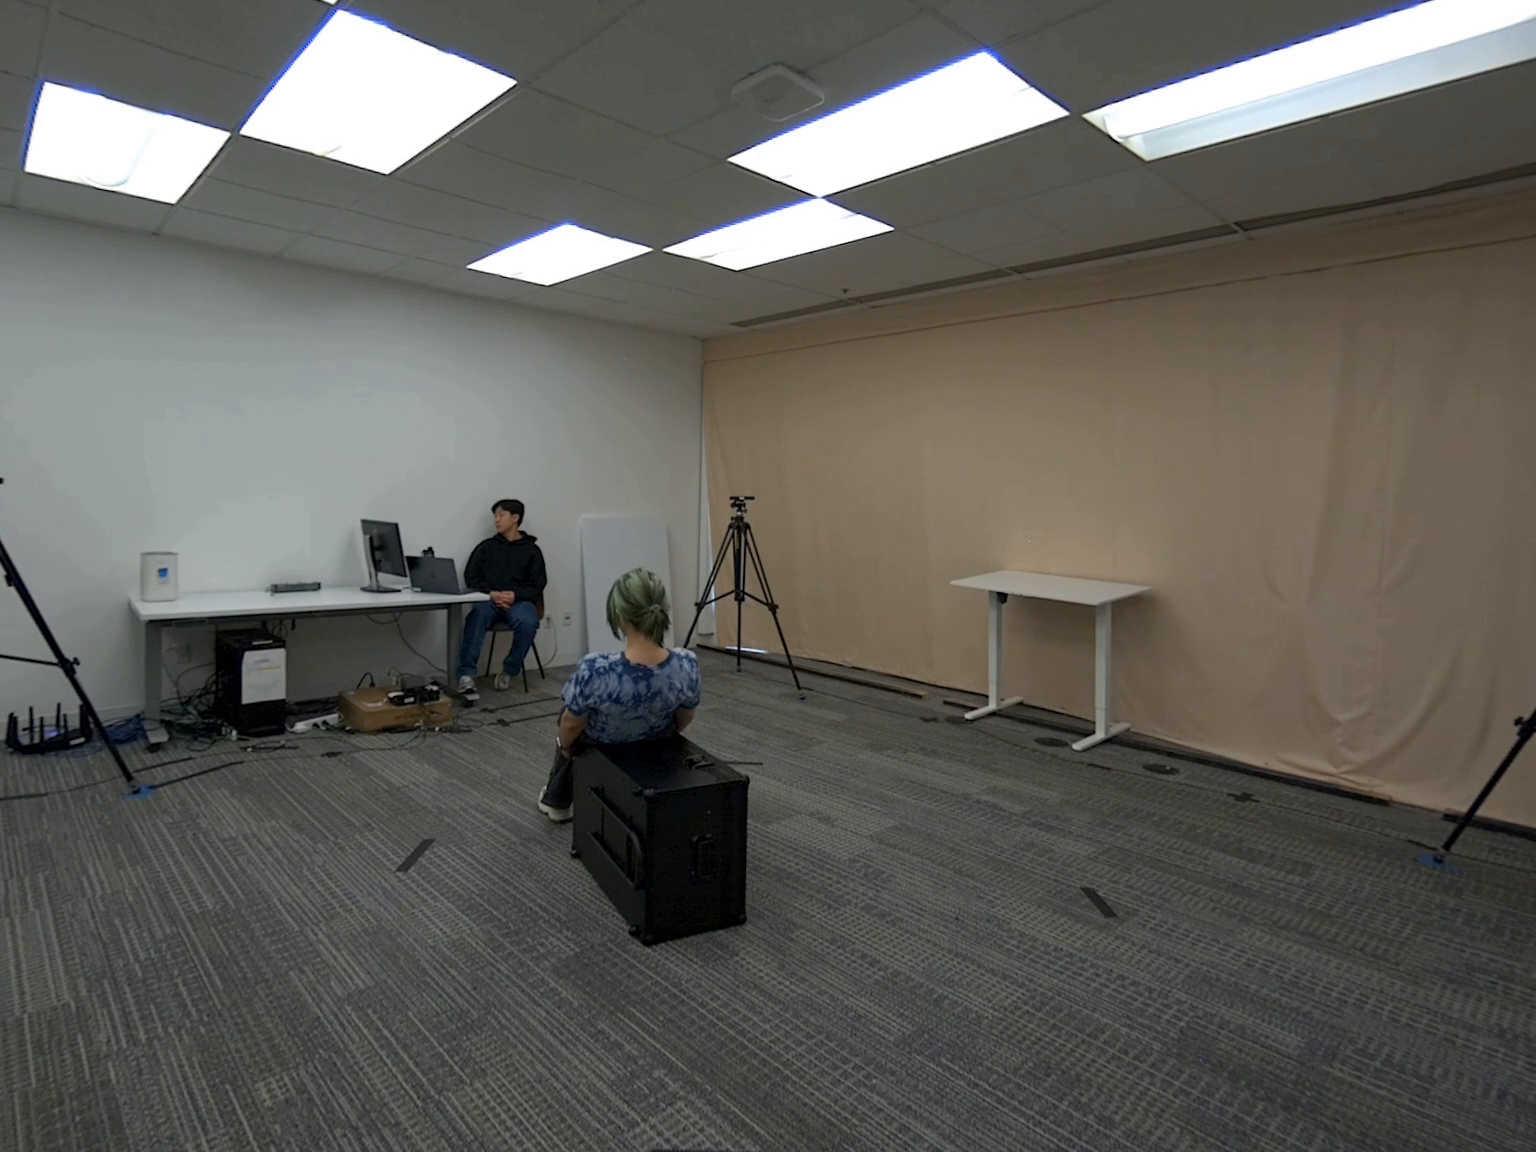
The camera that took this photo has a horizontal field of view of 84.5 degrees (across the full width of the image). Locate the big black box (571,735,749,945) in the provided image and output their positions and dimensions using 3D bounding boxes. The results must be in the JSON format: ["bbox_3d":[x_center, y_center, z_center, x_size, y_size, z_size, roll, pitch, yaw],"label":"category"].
[{"bbox_3d":[-0.438,0.865,3.019,0.389,0.520,0.880,0,4,-27],"label":"big black box"}]
